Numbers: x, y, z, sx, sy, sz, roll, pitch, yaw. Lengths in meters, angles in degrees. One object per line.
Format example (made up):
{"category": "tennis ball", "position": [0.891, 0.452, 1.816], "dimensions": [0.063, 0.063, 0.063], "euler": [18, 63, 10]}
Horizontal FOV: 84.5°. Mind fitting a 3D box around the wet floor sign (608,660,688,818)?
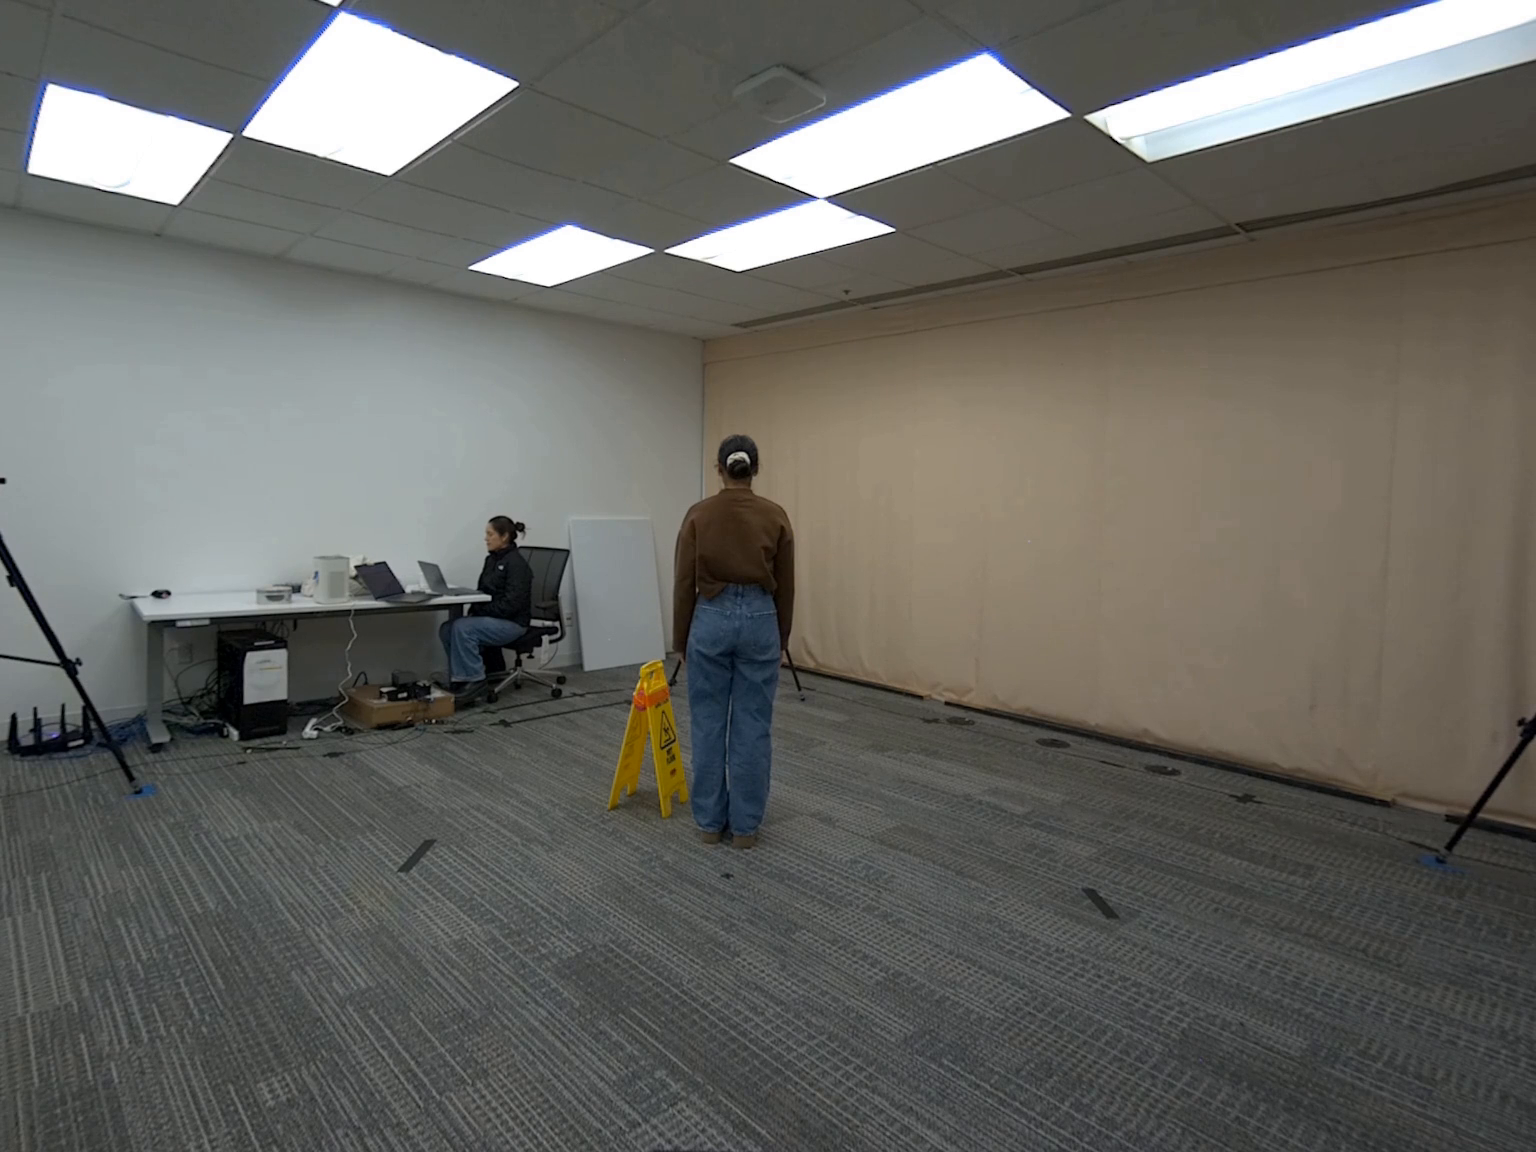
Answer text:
{"category": "wet floor sign", "position": [-0.541, 0.712, 3.803], "dimensions": [0.294, 0.645, 0.279], "euler": [2, 2, 16]}
